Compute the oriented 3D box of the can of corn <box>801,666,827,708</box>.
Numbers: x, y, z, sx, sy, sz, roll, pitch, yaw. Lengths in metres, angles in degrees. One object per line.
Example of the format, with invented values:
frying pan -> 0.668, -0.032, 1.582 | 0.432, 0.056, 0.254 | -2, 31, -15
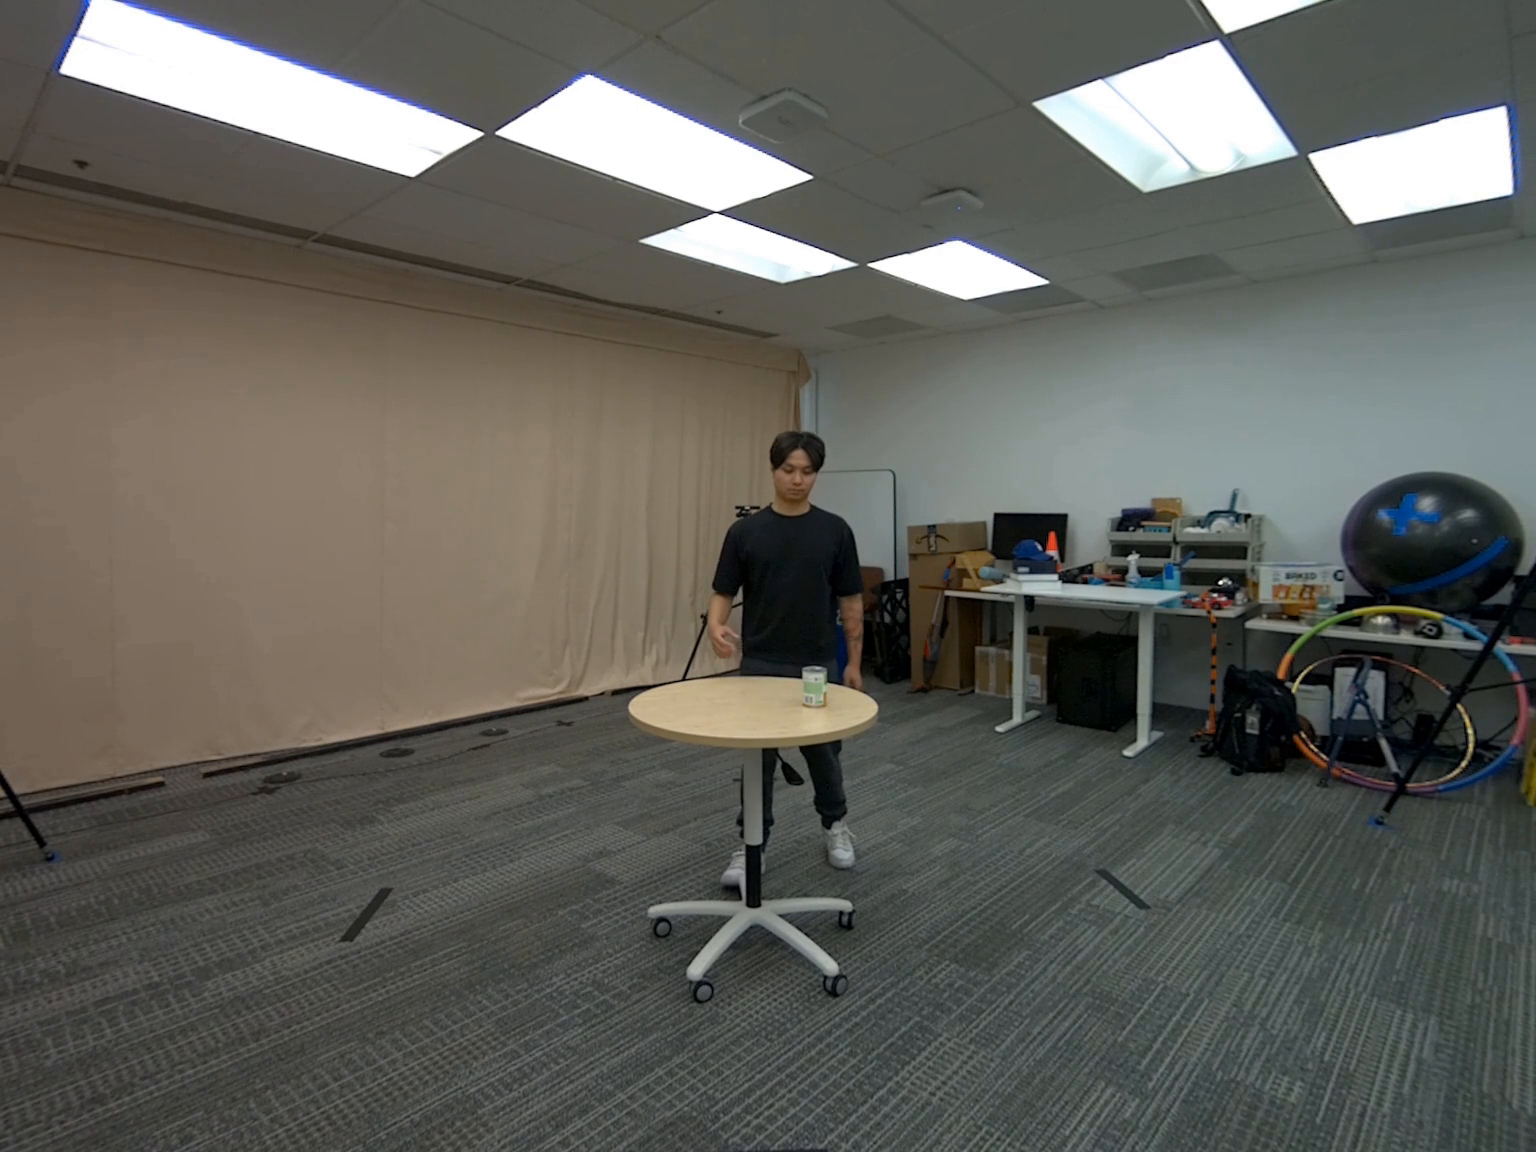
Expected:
can of corn -> 0.146, 0.338, 2.572 | 0.074, 0.111, 0.074 | 1, 5, -2
